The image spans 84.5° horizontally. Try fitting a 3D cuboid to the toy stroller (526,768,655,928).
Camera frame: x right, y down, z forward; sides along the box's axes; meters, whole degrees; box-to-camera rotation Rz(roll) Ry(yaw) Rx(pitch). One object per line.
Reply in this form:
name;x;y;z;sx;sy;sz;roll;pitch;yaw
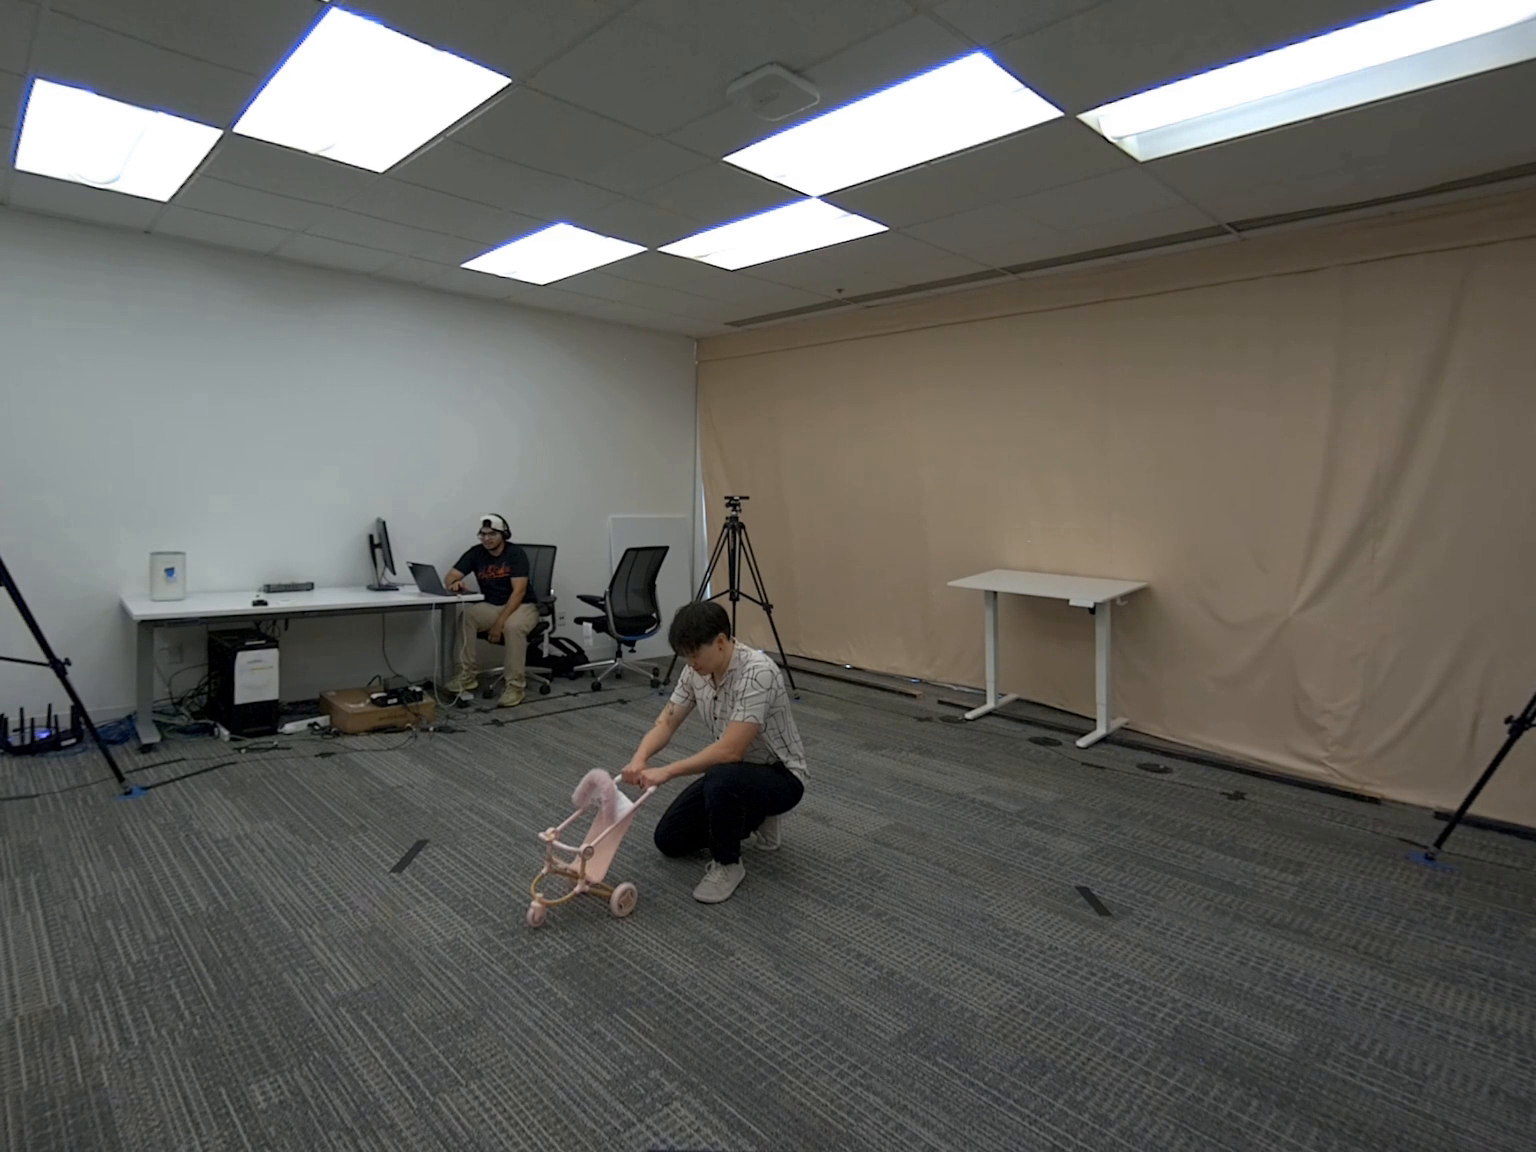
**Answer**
toy stroller;-0.605;0.896;2.825;0.288;0.538;0.331;2;-17;47
